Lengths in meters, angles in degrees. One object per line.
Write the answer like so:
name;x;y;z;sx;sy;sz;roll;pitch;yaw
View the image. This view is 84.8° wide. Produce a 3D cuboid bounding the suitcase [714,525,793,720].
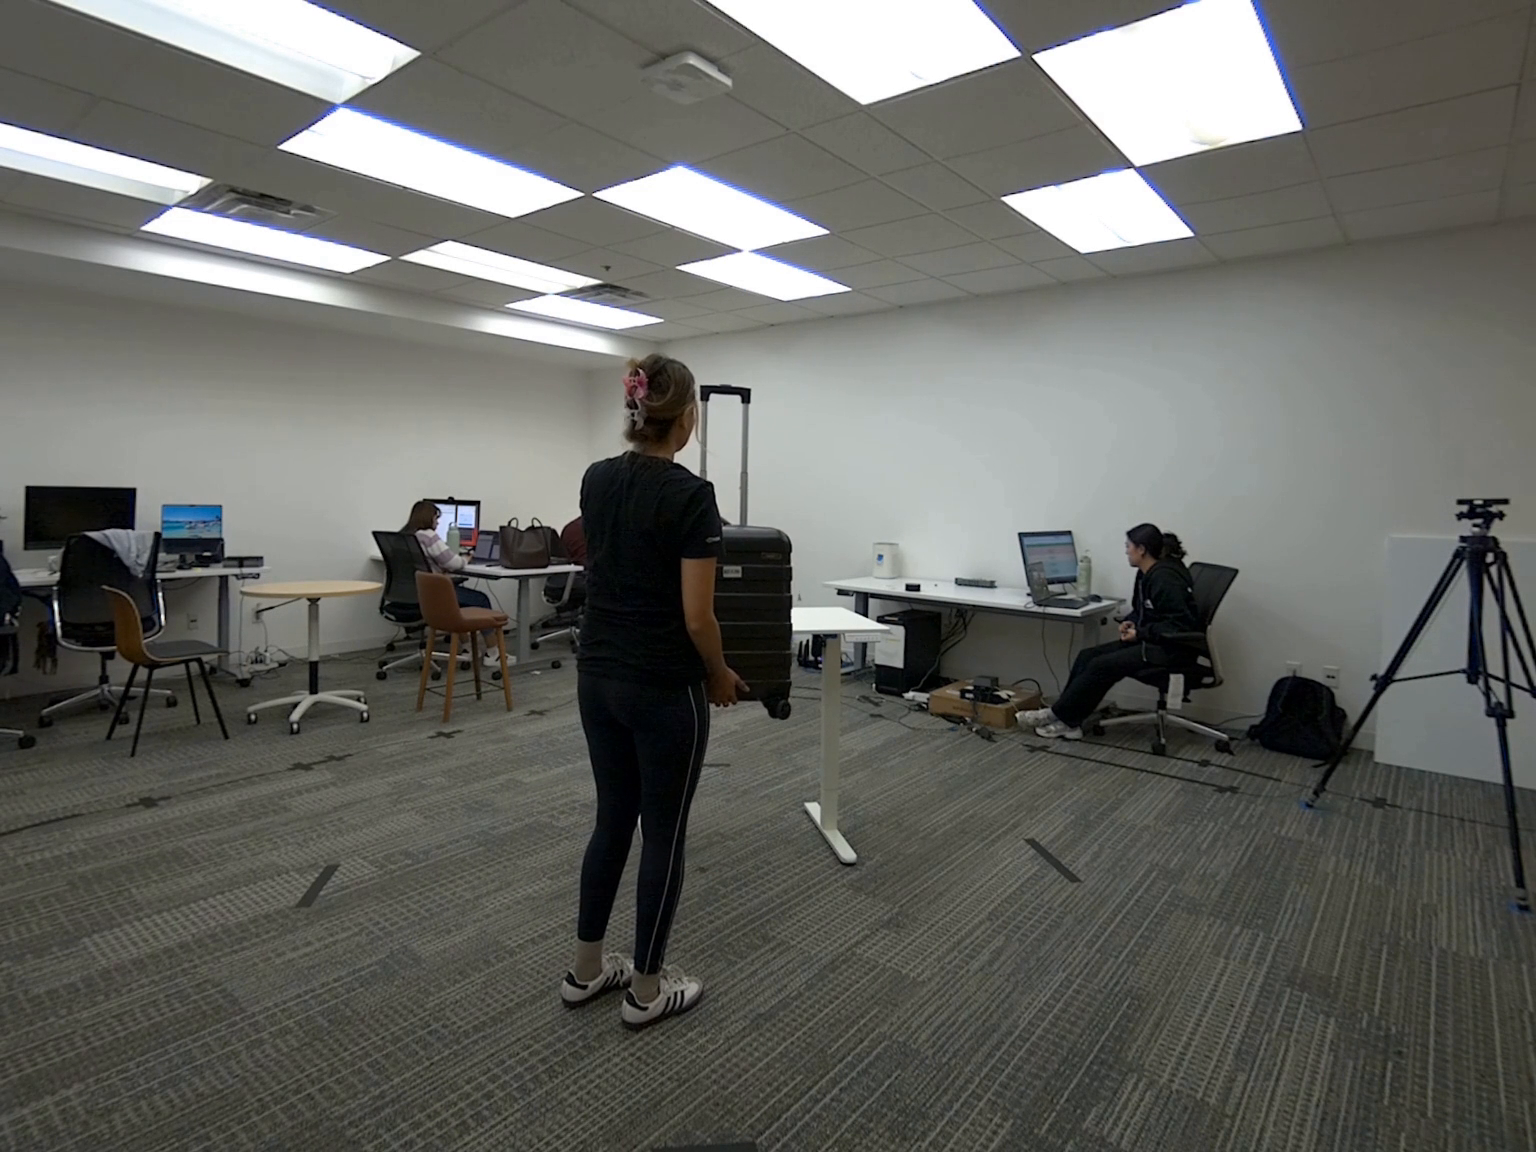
suitcase;-0.118;-0.091;2.482;0.380;0.979;0.260;1;-1;-10
